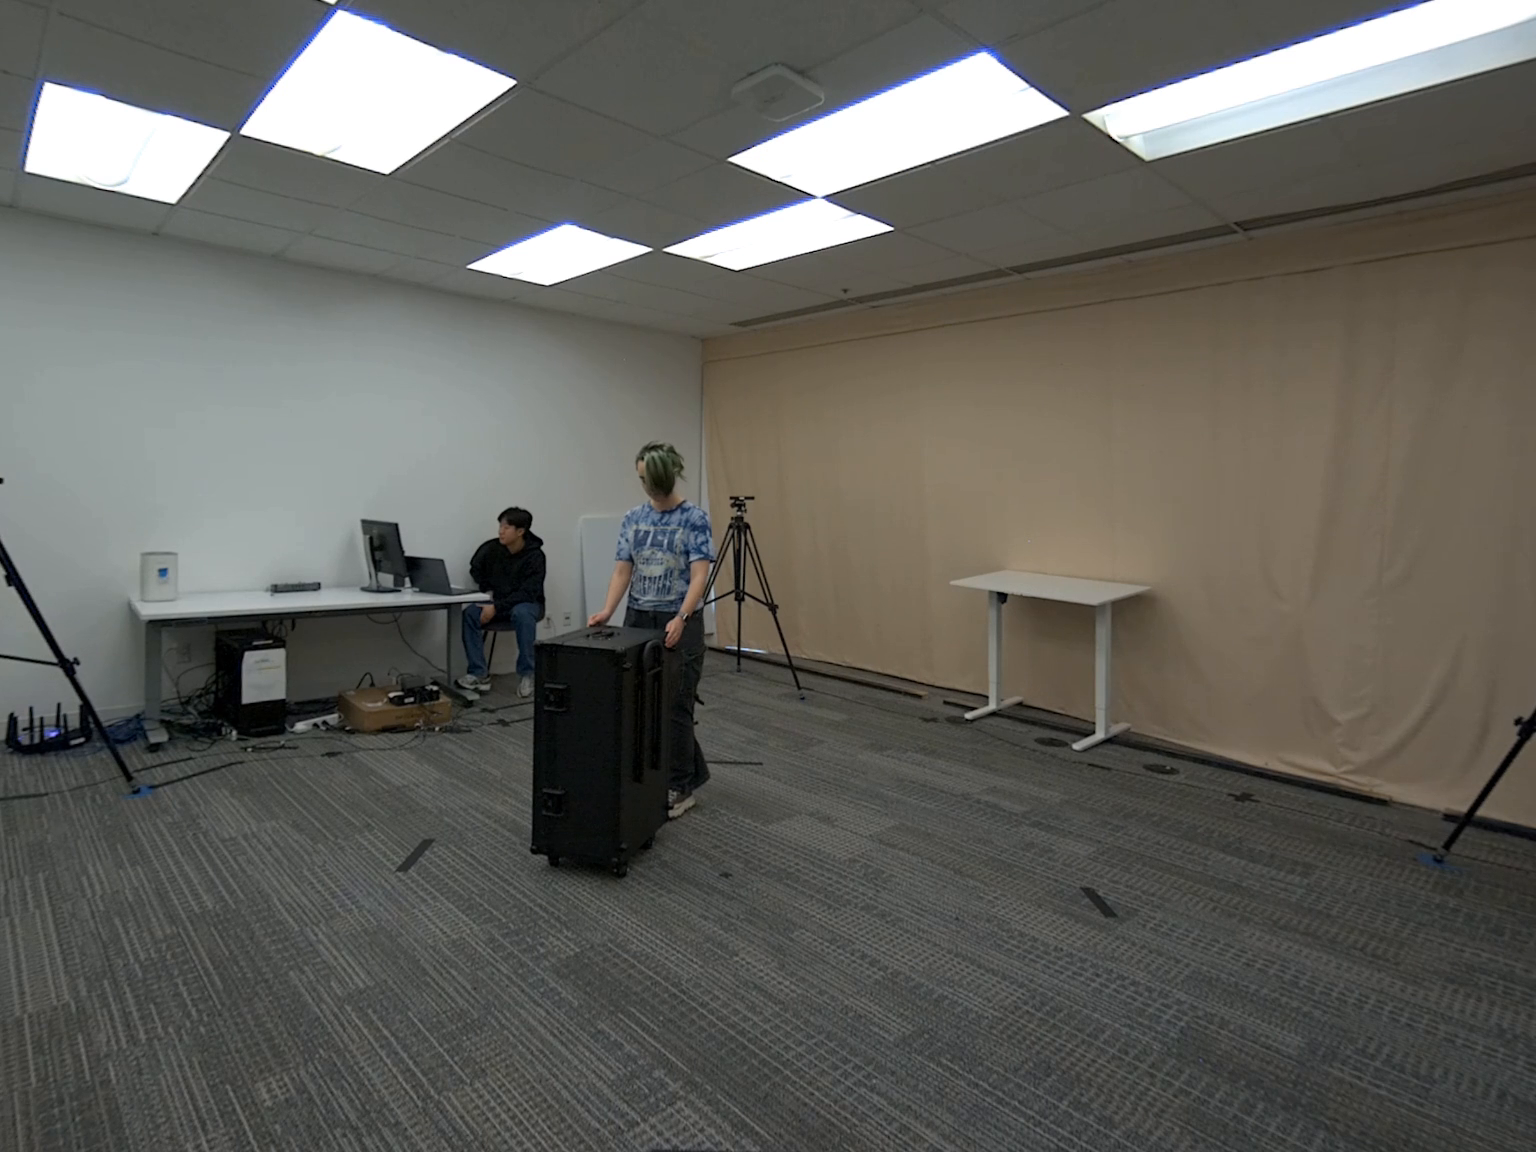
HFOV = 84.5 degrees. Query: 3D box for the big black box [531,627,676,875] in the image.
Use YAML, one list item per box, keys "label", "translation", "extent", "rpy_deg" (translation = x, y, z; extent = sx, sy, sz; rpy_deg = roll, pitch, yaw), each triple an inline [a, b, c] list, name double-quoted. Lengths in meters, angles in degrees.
- label: "big black box"
  translation: [-0.630, 0.665, 3.244]
  extent: [0.402, 0.859, 0.515]
  rpy_deg: [3, 3, 16]
